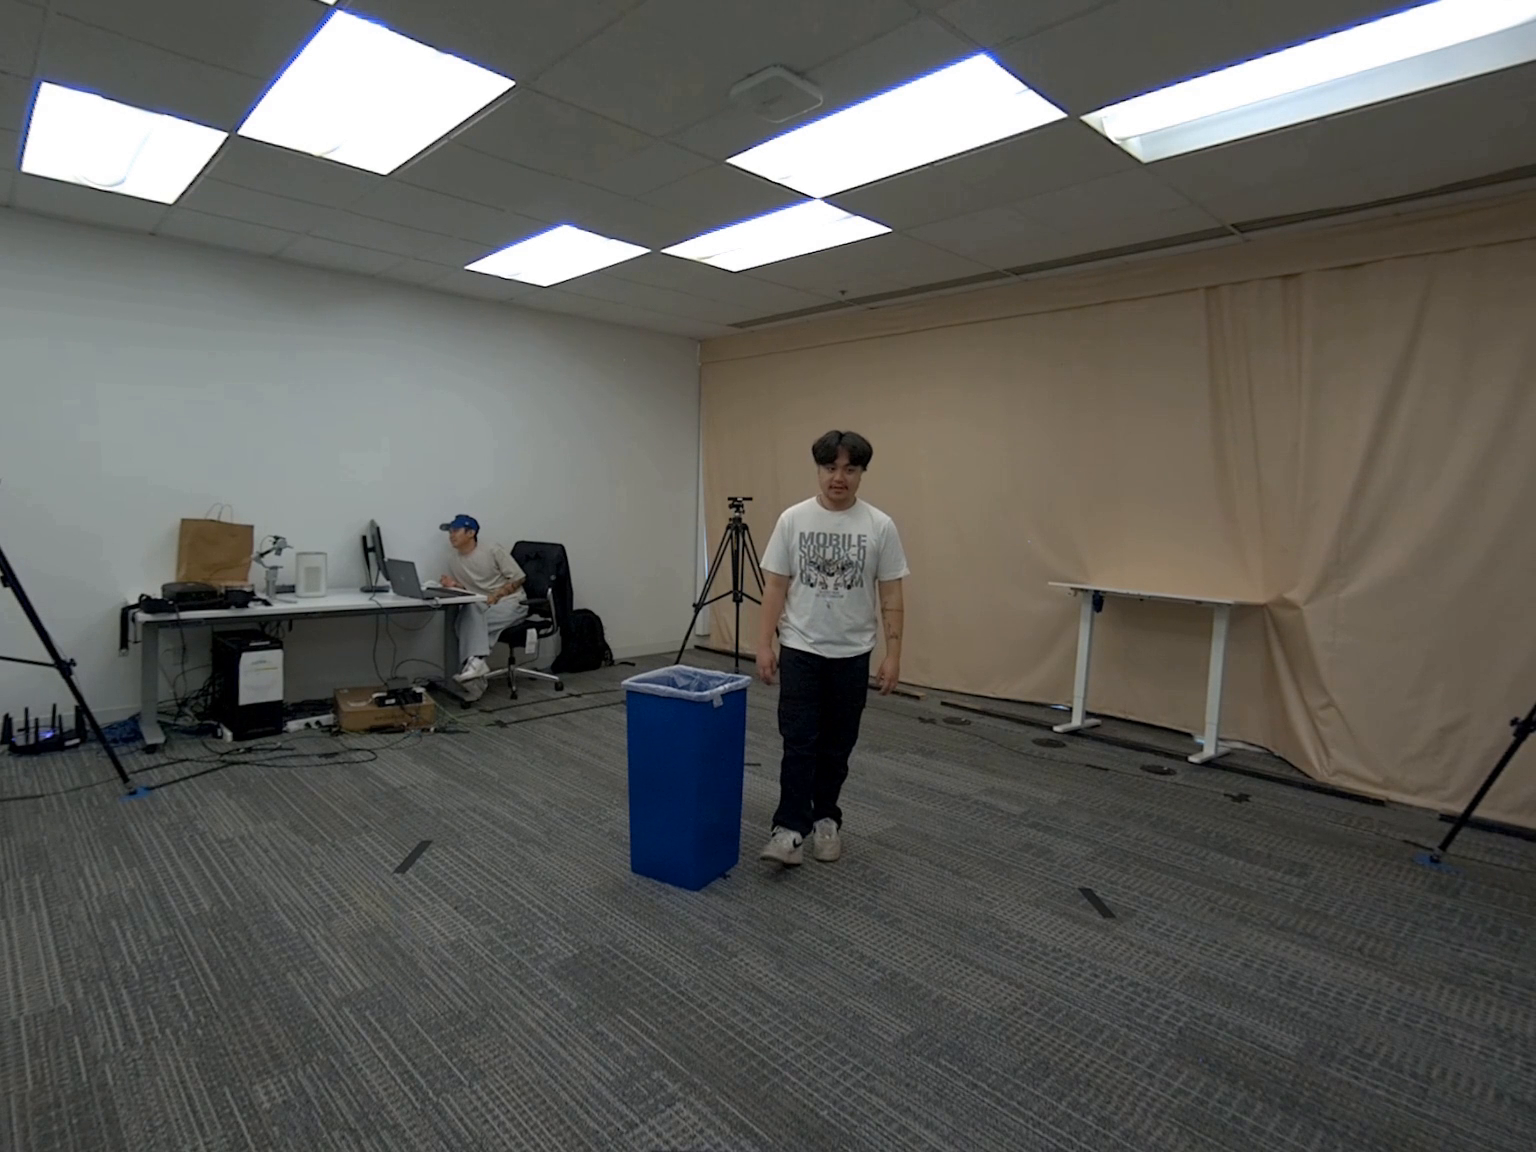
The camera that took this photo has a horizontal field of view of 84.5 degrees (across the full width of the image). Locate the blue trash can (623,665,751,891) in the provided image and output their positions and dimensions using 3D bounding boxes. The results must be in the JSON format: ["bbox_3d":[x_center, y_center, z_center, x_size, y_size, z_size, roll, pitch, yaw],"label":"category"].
[{"bbox_3d":[-0.318,0.739,3.156,0.382,0.712,0.370,4,4,30],"label":"blue trash can"}]
